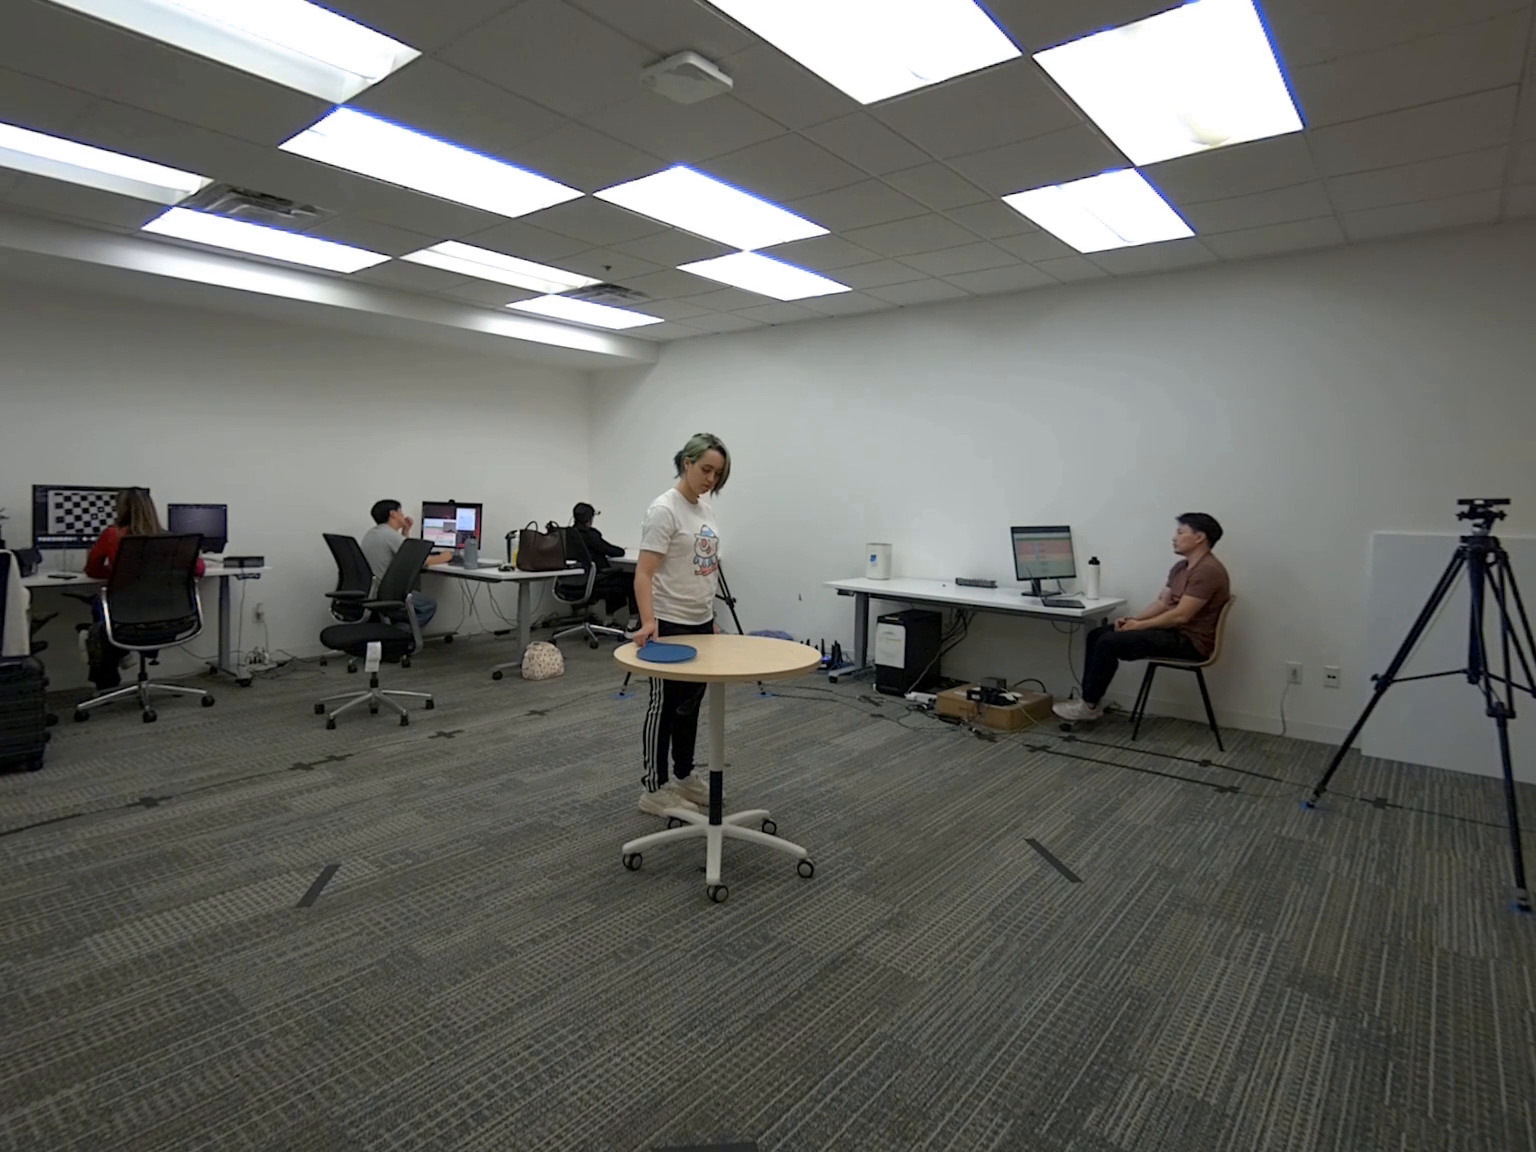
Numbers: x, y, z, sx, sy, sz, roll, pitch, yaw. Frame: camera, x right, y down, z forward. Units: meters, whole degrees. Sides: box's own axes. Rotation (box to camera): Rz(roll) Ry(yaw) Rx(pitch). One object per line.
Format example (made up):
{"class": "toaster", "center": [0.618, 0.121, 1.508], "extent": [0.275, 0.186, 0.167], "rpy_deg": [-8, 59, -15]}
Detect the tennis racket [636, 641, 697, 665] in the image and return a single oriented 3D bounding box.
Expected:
{"class": "tennis racket", "center": [-0.413, 0.266, 3.135], "extent": [0.210, 0.031, 0.443], "rpy_deg": [-4, 8, -19]}
